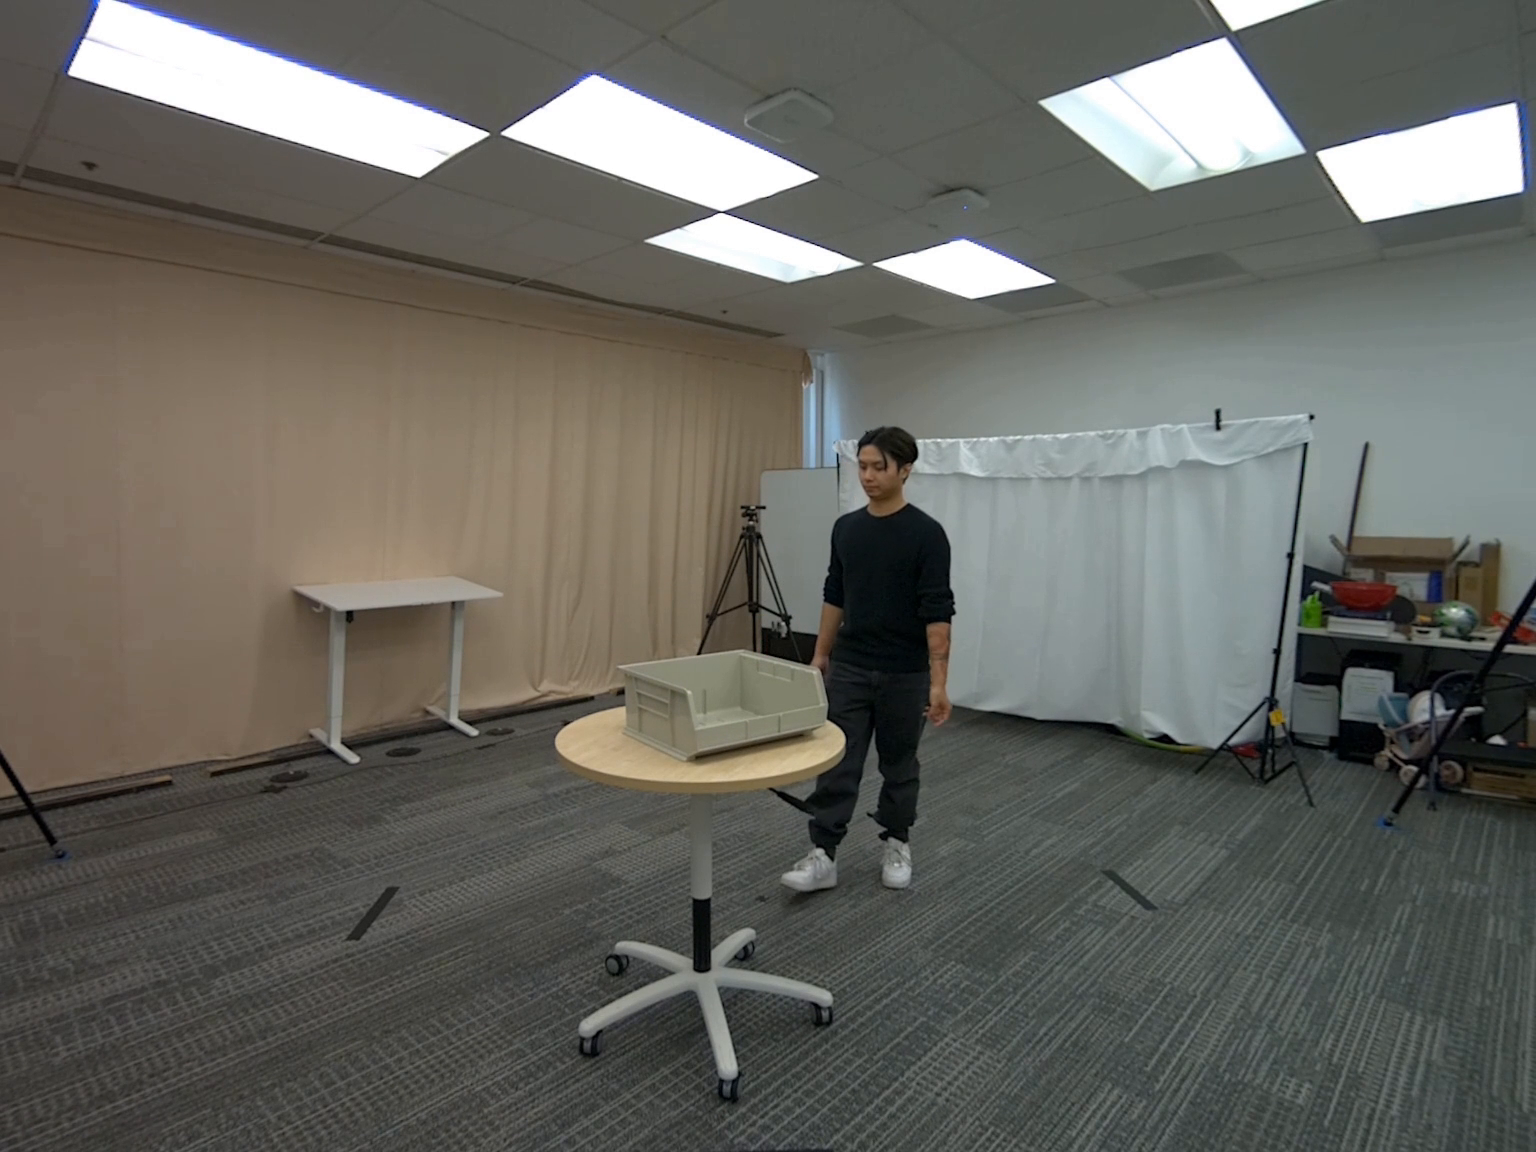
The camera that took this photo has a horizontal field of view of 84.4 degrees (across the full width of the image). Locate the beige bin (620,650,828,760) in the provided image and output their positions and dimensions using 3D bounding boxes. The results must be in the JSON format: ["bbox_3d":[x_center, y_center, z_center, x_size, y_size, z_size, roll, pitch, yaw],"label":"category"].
[{"bbox_3d":[-0.121,0.334,2.227,0.410,0.188,0.389,-4,5,-38],"label":"beige bin"}]
